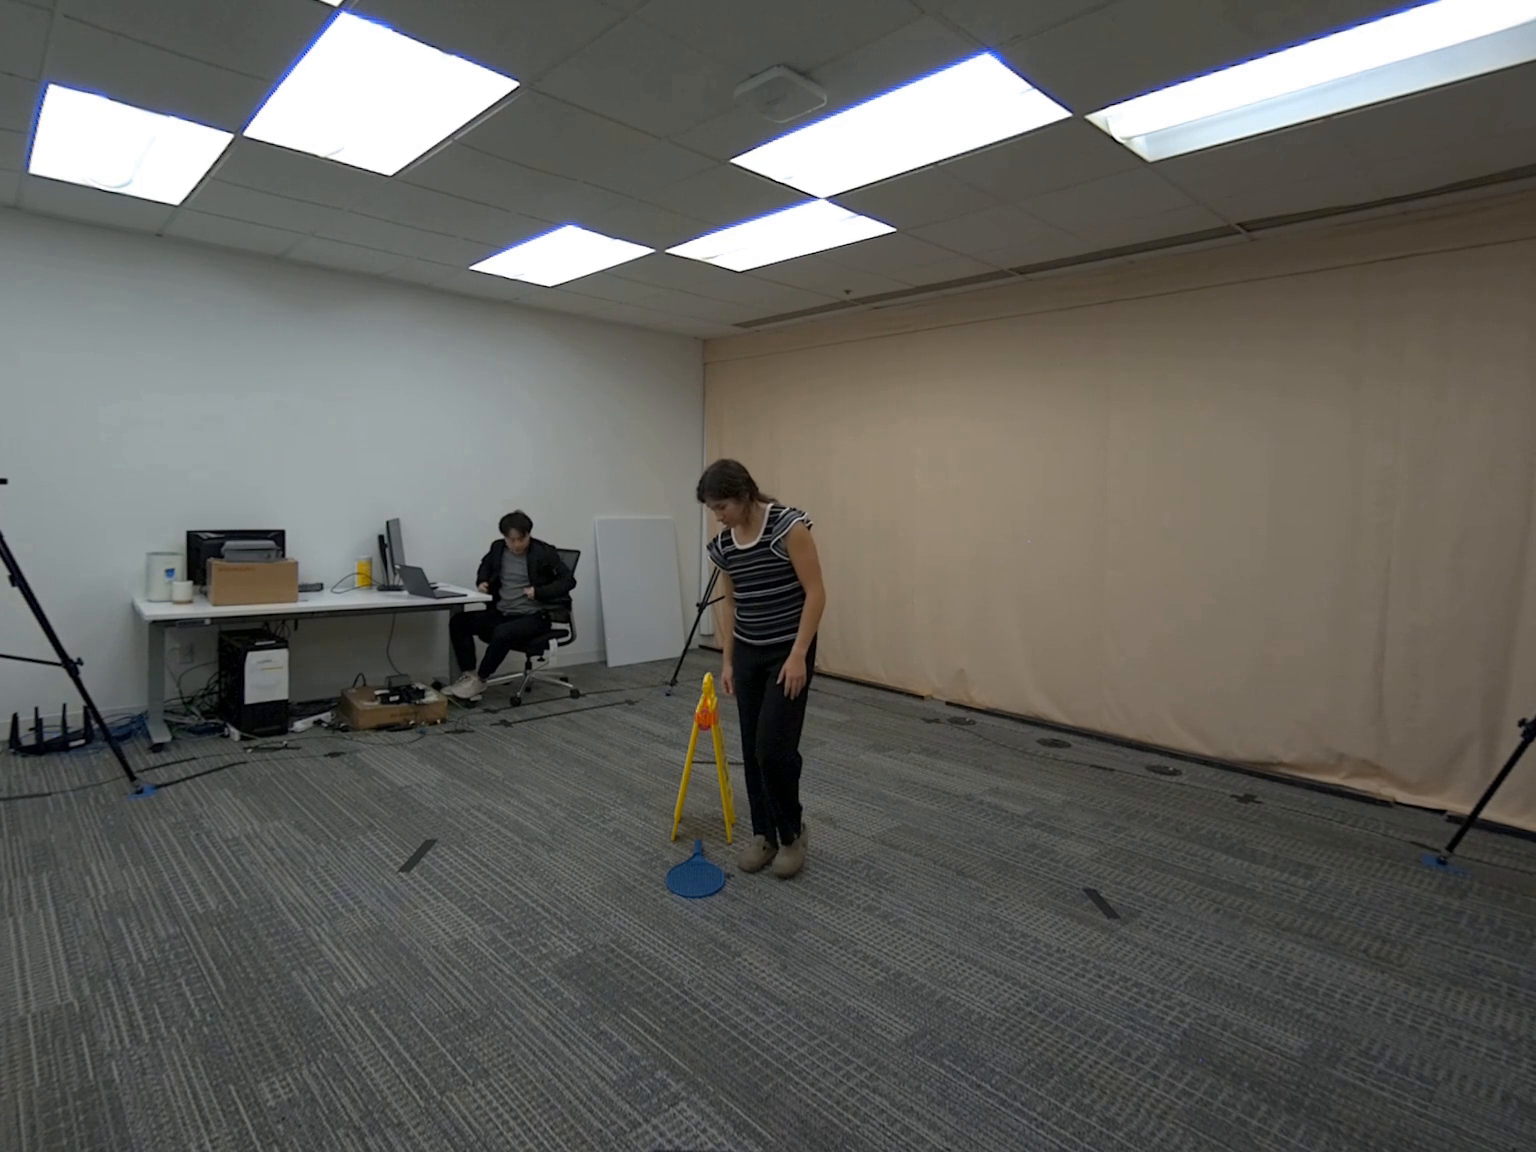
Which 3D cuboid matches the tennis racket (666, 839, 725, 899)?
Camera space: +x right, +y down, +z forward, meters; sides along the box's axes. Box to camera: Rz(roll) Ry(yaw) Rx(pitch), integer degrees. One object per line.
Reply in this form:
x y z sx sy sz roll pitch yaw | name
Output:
-0.268 1.083 3.136 0.214 0.031 0.434 0 7 1 | tennis racket
